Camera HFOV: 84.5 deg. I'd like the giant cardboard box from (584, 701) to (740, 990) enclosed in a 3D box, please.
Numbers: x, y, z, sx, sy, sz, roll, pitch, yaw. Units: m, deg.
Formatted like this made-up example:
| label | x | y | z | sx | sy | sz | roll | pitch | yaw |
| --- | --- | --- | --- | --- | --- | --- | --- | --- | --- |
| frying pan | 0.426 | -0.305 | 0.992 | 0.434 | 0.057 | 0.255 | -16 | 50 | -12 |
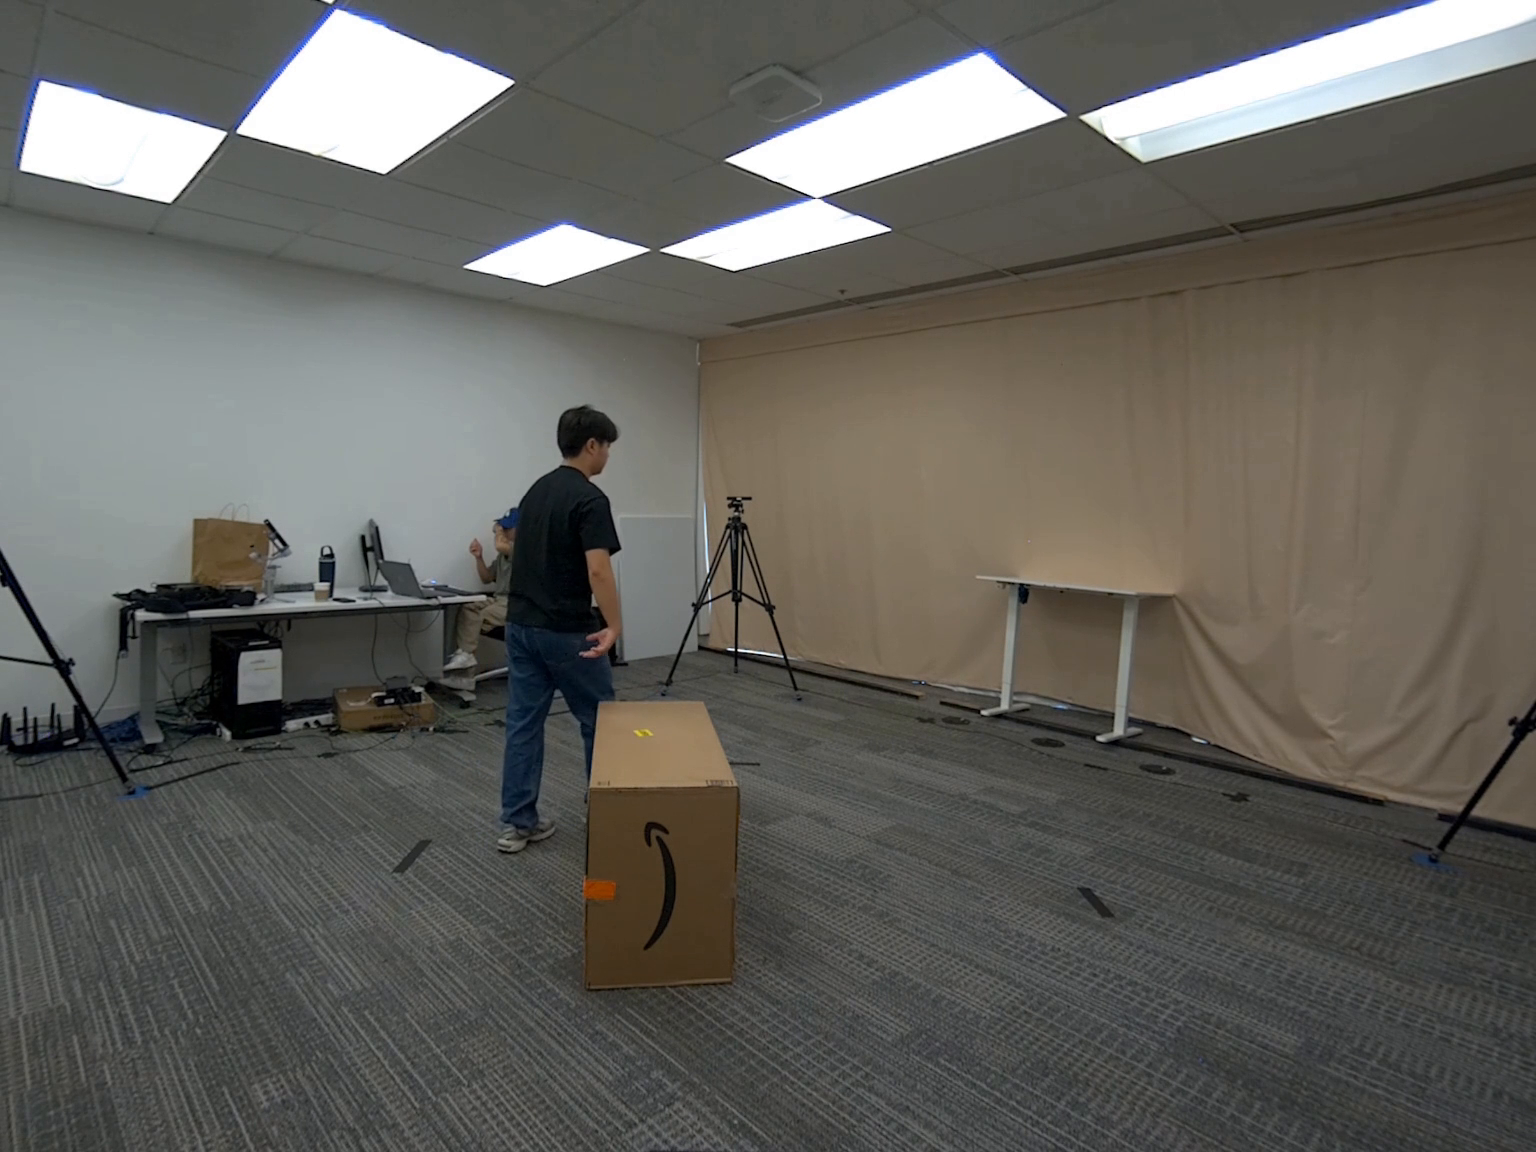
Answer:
| label | x | y | z | sx | sy | sz | roll | pitch | yaw |
| --- | --- | --- | --- | --- | --- | --- | --- | --- | --- |
| giant cardboard box | -0.390 | 0.835 | 2.875 | 0.443 | 0.582 | 1.037 | 0 | 4 | -10 |
